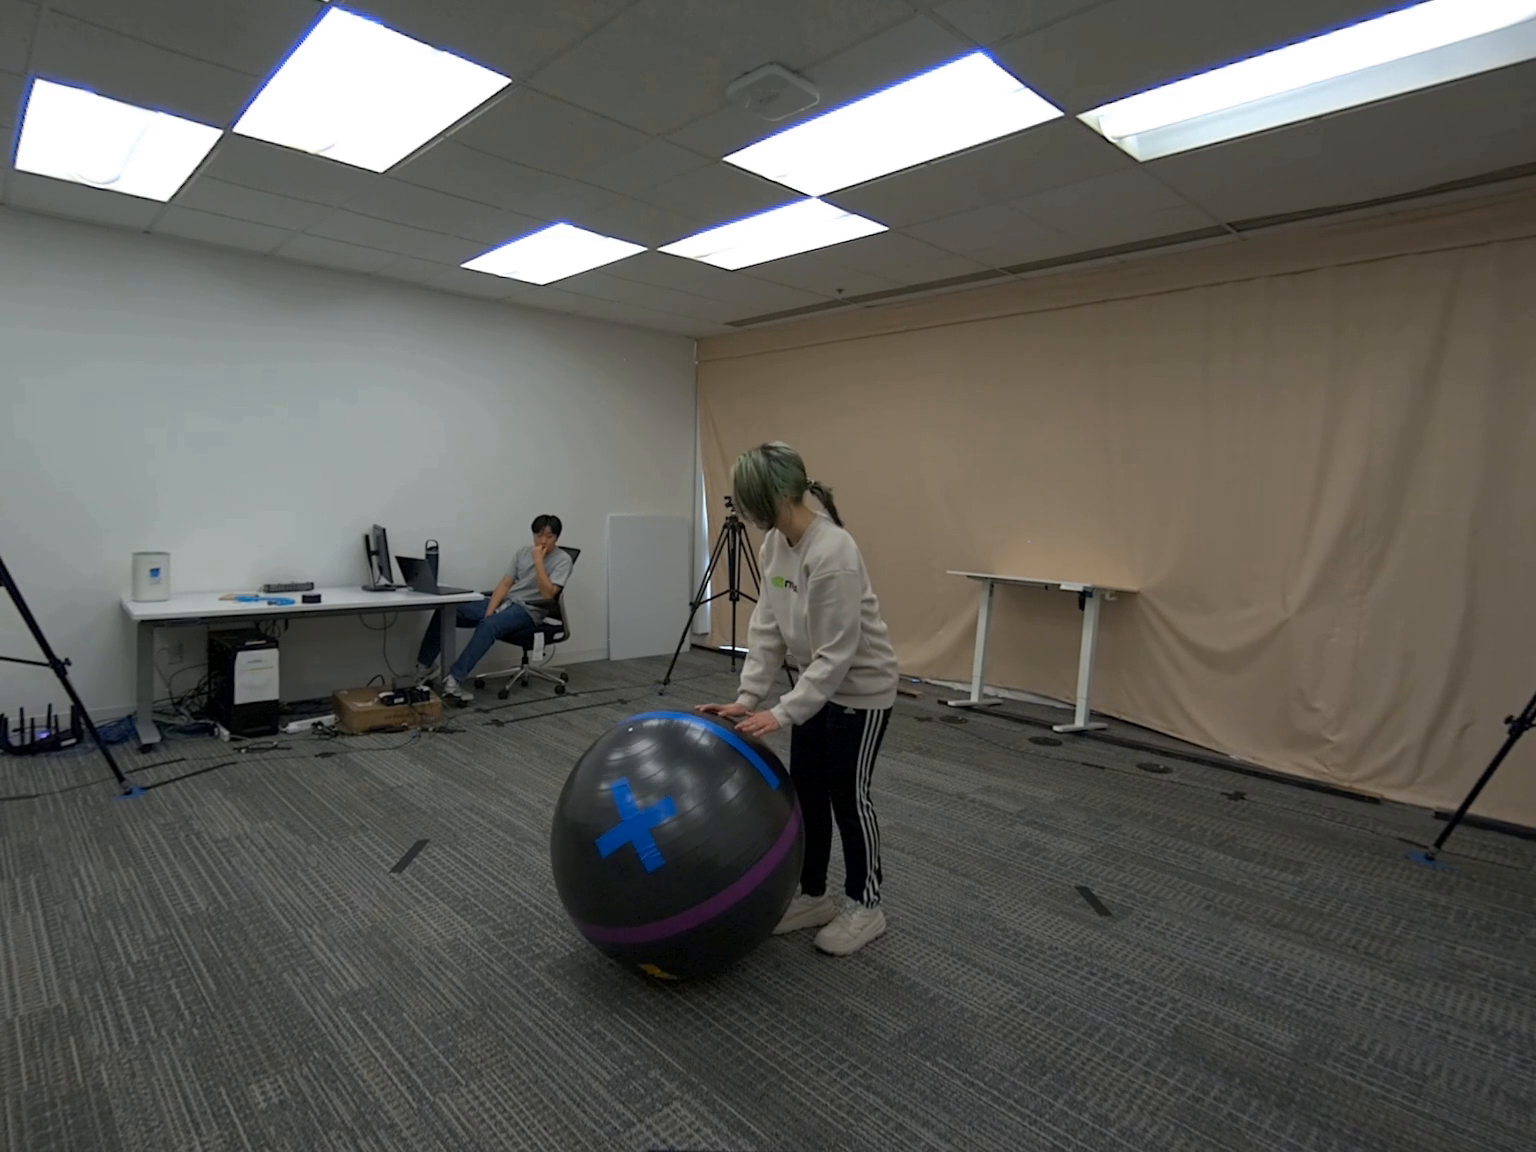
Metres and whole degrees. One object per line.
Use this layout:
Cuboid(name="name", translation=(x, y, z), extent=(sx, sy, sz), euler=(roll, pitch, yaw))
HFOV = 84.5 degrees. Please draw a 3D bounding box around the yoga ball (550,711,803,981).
Cuboid(name="yoga ball", translation=(-0.283, 0.793, 2.513), extent=(0.757, 0.756, 0.761), euler=(1, 4, -1))
